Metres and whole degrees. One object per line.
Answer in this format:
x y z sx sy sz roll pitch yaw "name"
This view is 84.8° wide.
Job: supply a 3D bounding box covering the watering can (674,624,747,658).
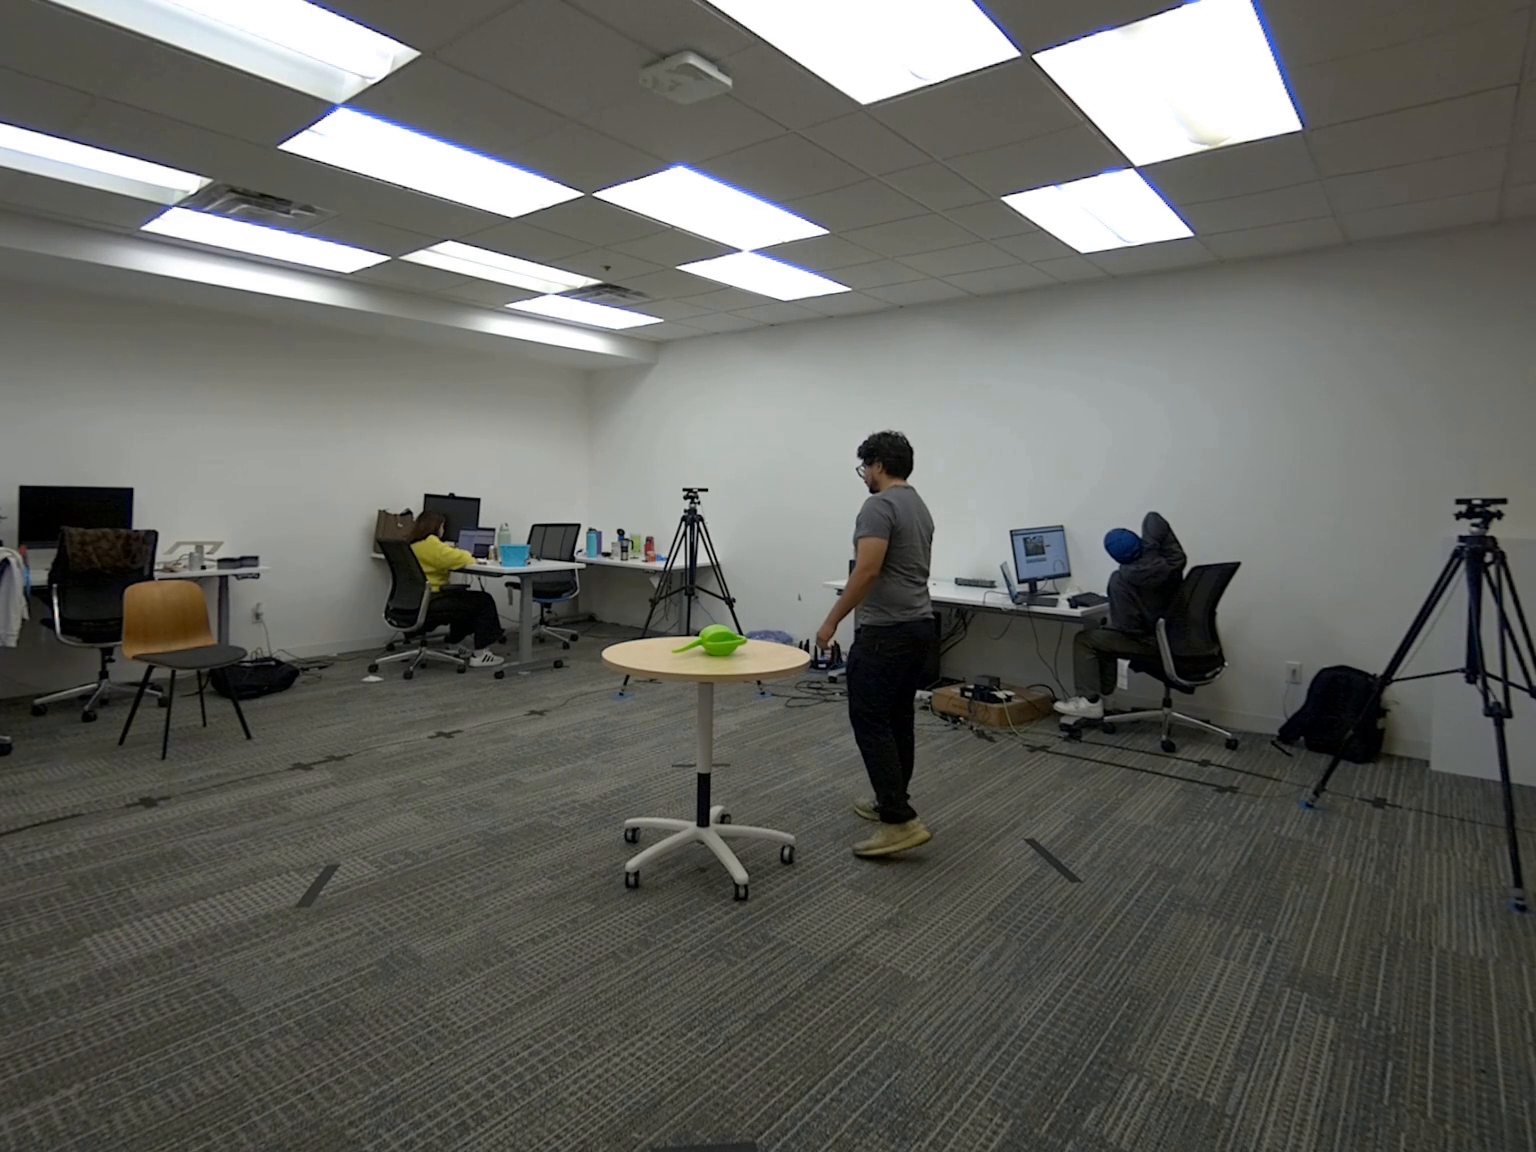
-0.228 0.232 3.122 0.275 0.098 0.179 7 3 -12 "watering can"
